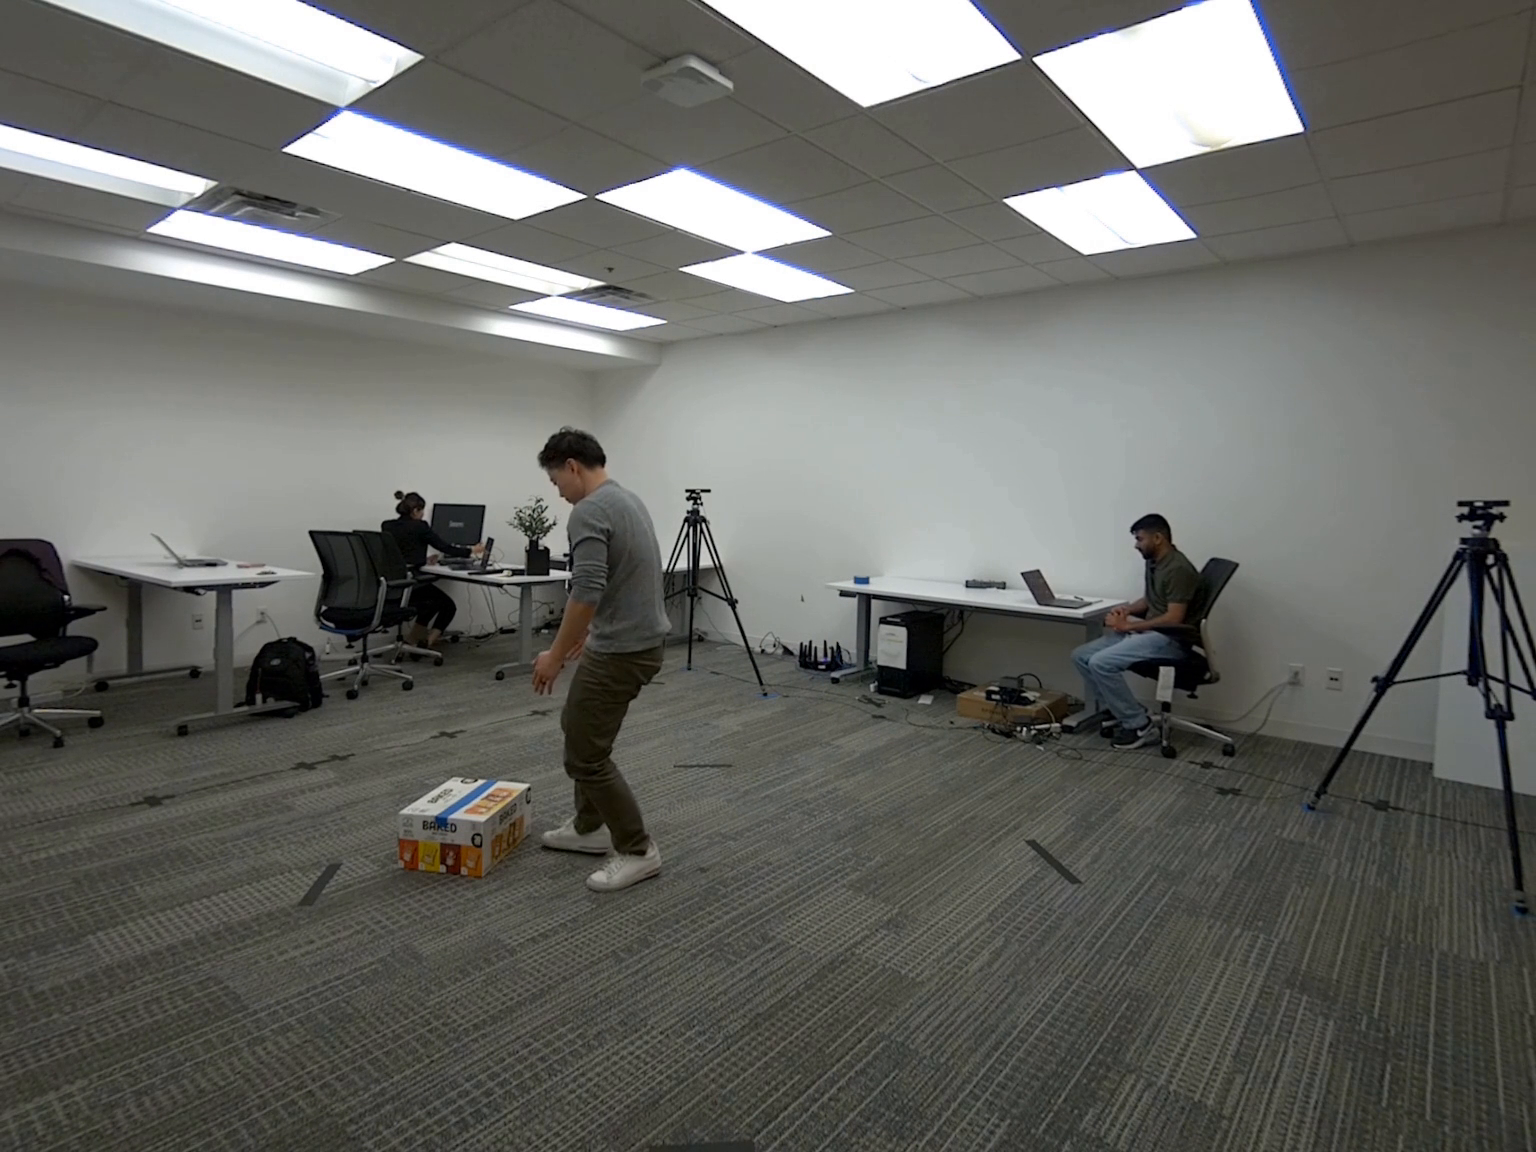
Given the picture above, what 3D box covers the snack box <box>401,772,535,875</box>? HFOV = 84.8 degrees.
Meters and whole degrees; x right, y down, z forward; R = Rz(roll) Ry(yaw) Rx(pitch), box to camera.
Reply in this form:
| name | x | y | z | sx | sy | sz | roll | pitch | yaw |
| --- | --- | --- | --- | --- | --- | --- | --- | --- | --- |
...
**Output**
| name | x | y | z | sx | sy | sz | roll | pitch | yaw |
| --- | --- | --- | --- | --- | --- | --- | --- | --- | --- |
| snack box | -1.147 | 0.938 | 3.241 | 0.344 | 0.205 | 0.402 | 2 | 5 | 10 |
